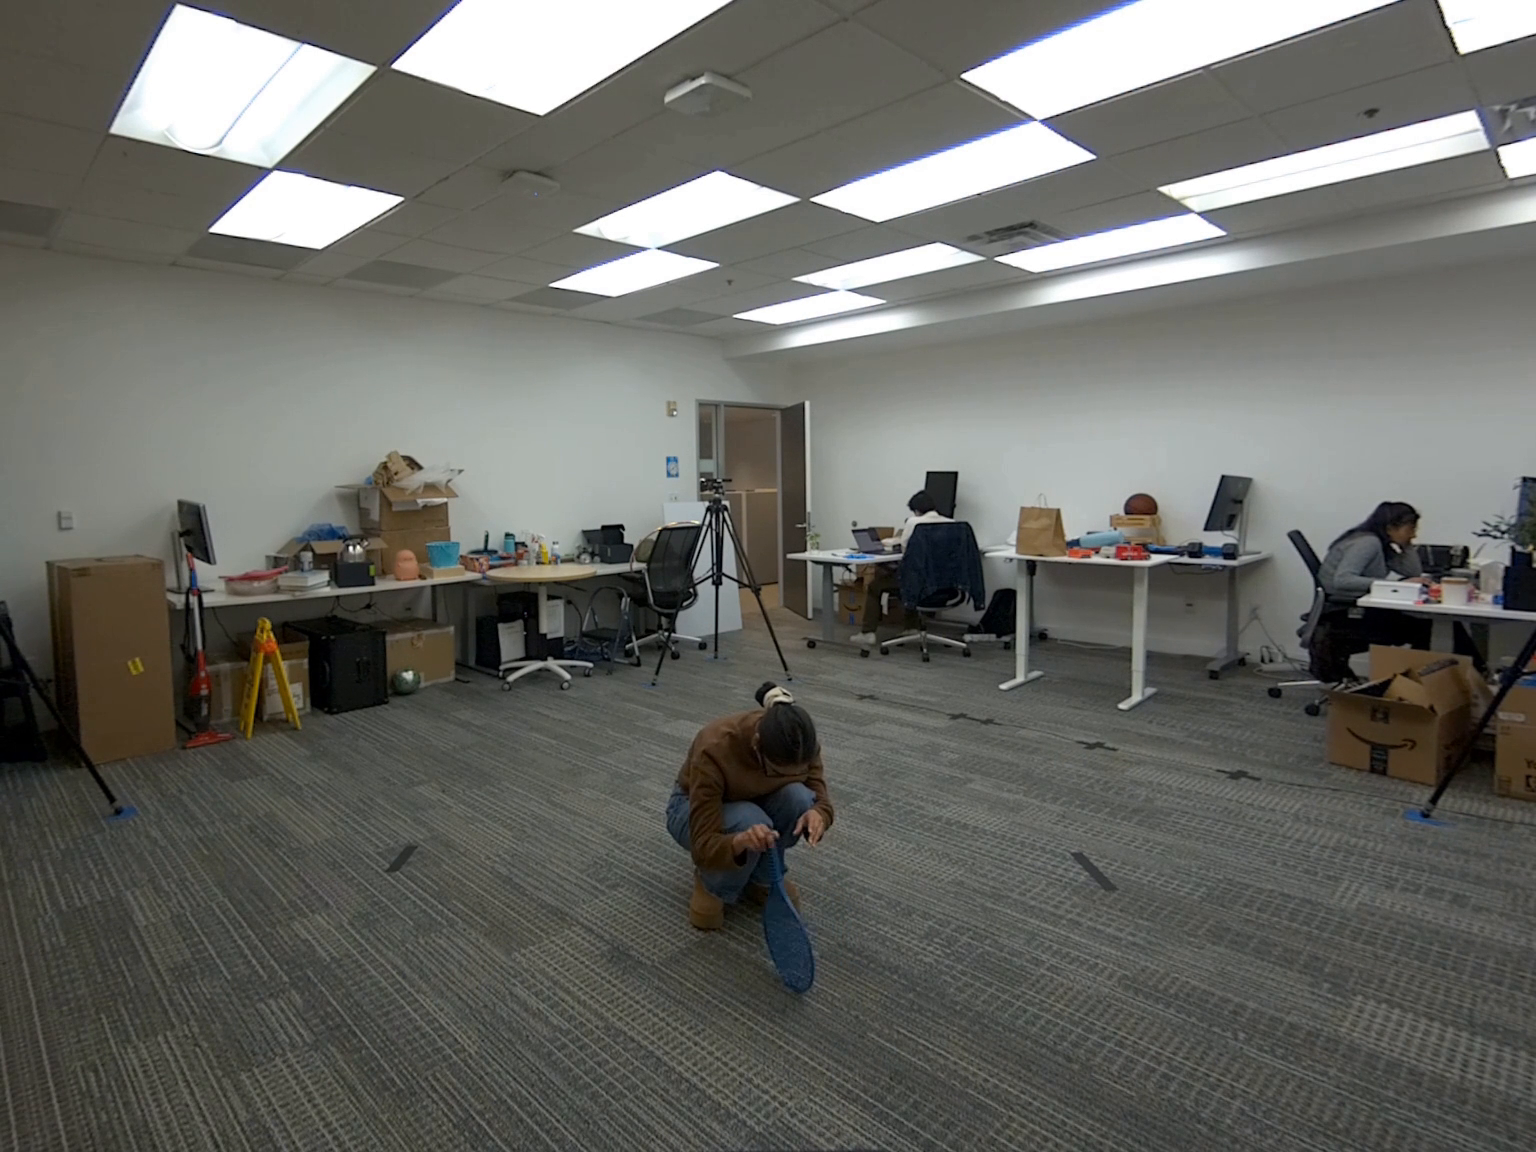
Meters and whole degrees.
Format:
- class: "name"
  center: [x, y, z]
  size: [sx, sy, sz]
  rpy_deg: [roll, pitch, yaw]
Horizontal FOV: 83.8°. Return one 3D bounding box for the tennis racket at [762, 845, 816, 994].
- class: "tennis racket"
  center: [0.041, 0.926, 2.325]
  size: [0.031, 0.431, 0.219]
  rpy_deg: [-11, 5, -32]
